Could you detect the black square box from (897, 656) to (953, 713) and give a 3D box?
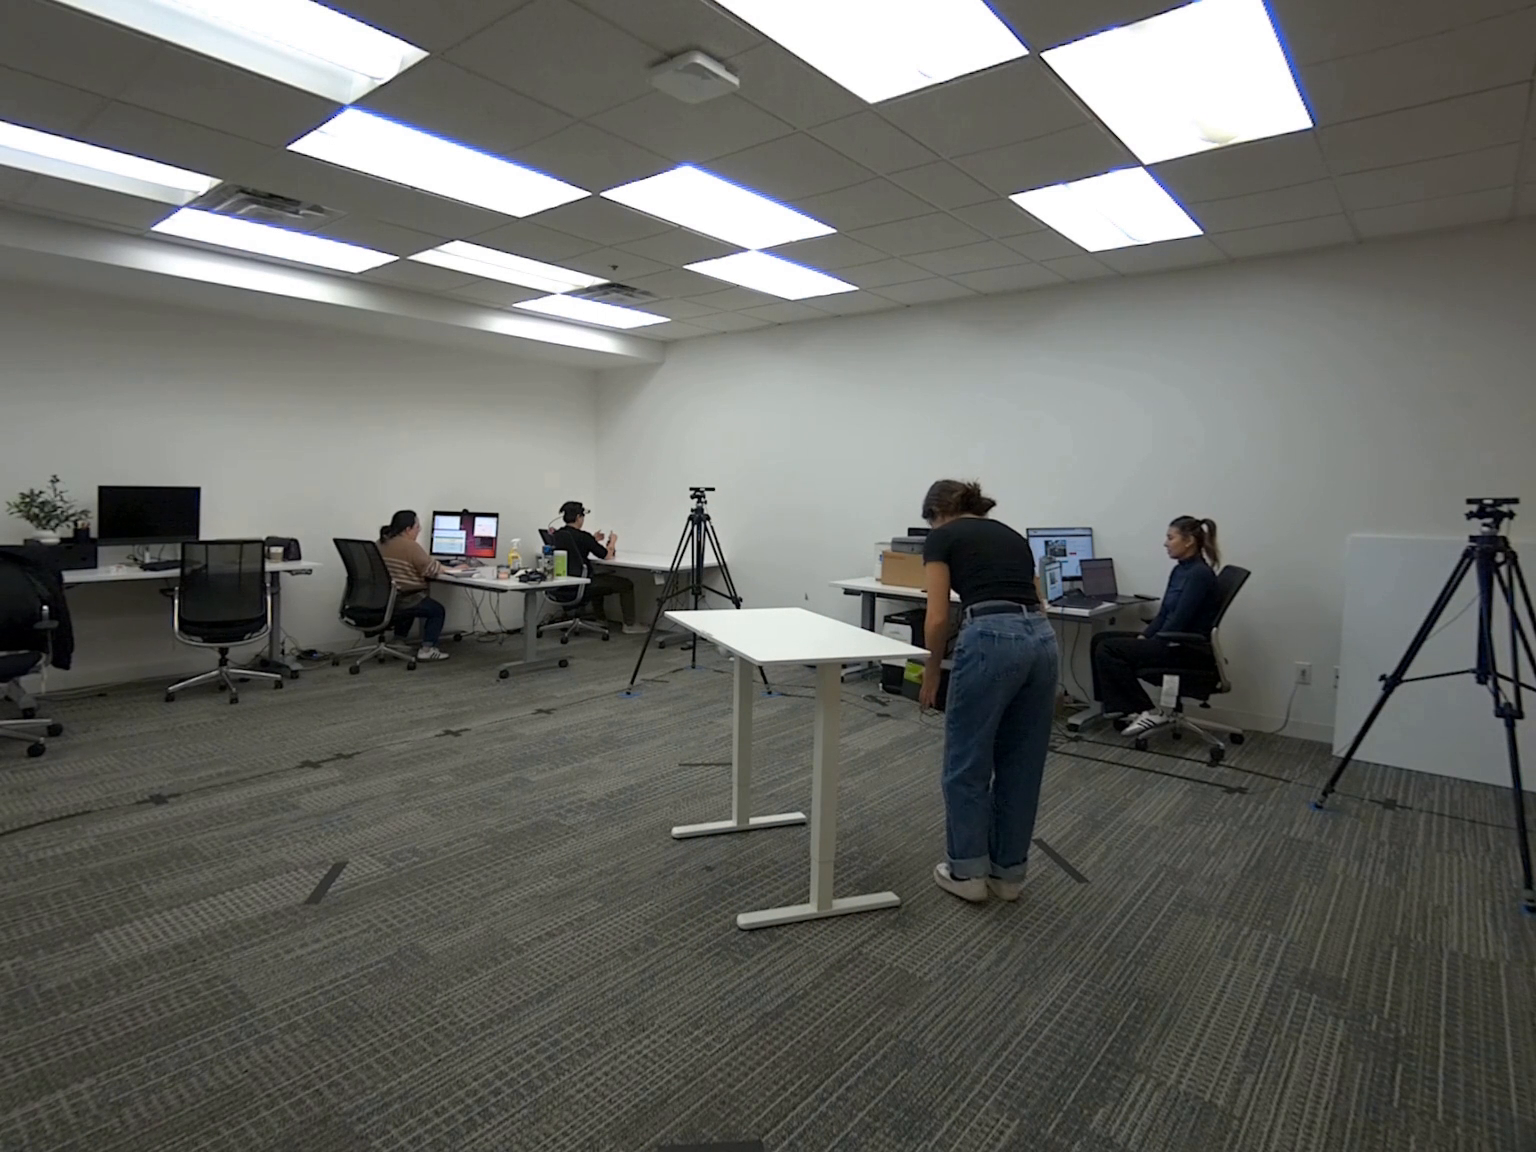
[{"bbox_3d":[0.657,0.414,3.187,0.211,0.156,0.234,9,2,-24],"label":"black square box"}]
